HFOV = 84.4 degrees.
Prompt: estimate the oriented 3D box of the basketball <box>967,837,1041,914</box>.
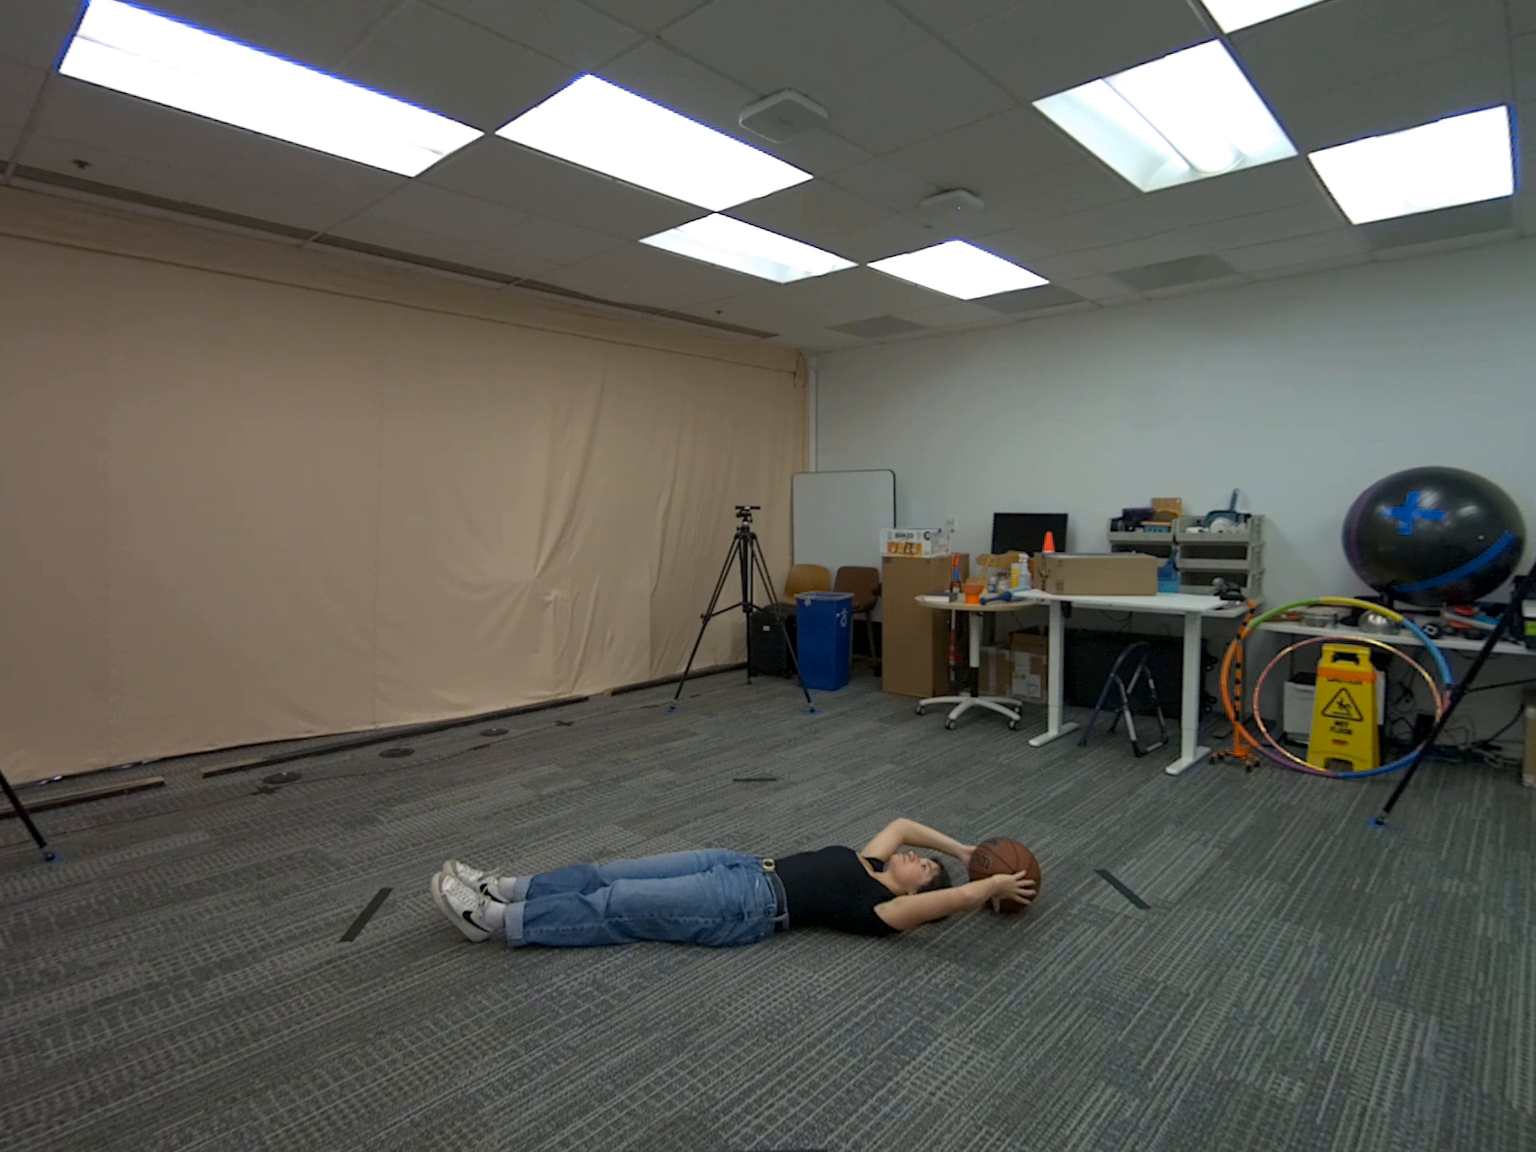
[{"bbox_3d":[0.820,1.026,2.910,0.236,0.235,0.237,0,4,-2],"label":"basketball"}]
